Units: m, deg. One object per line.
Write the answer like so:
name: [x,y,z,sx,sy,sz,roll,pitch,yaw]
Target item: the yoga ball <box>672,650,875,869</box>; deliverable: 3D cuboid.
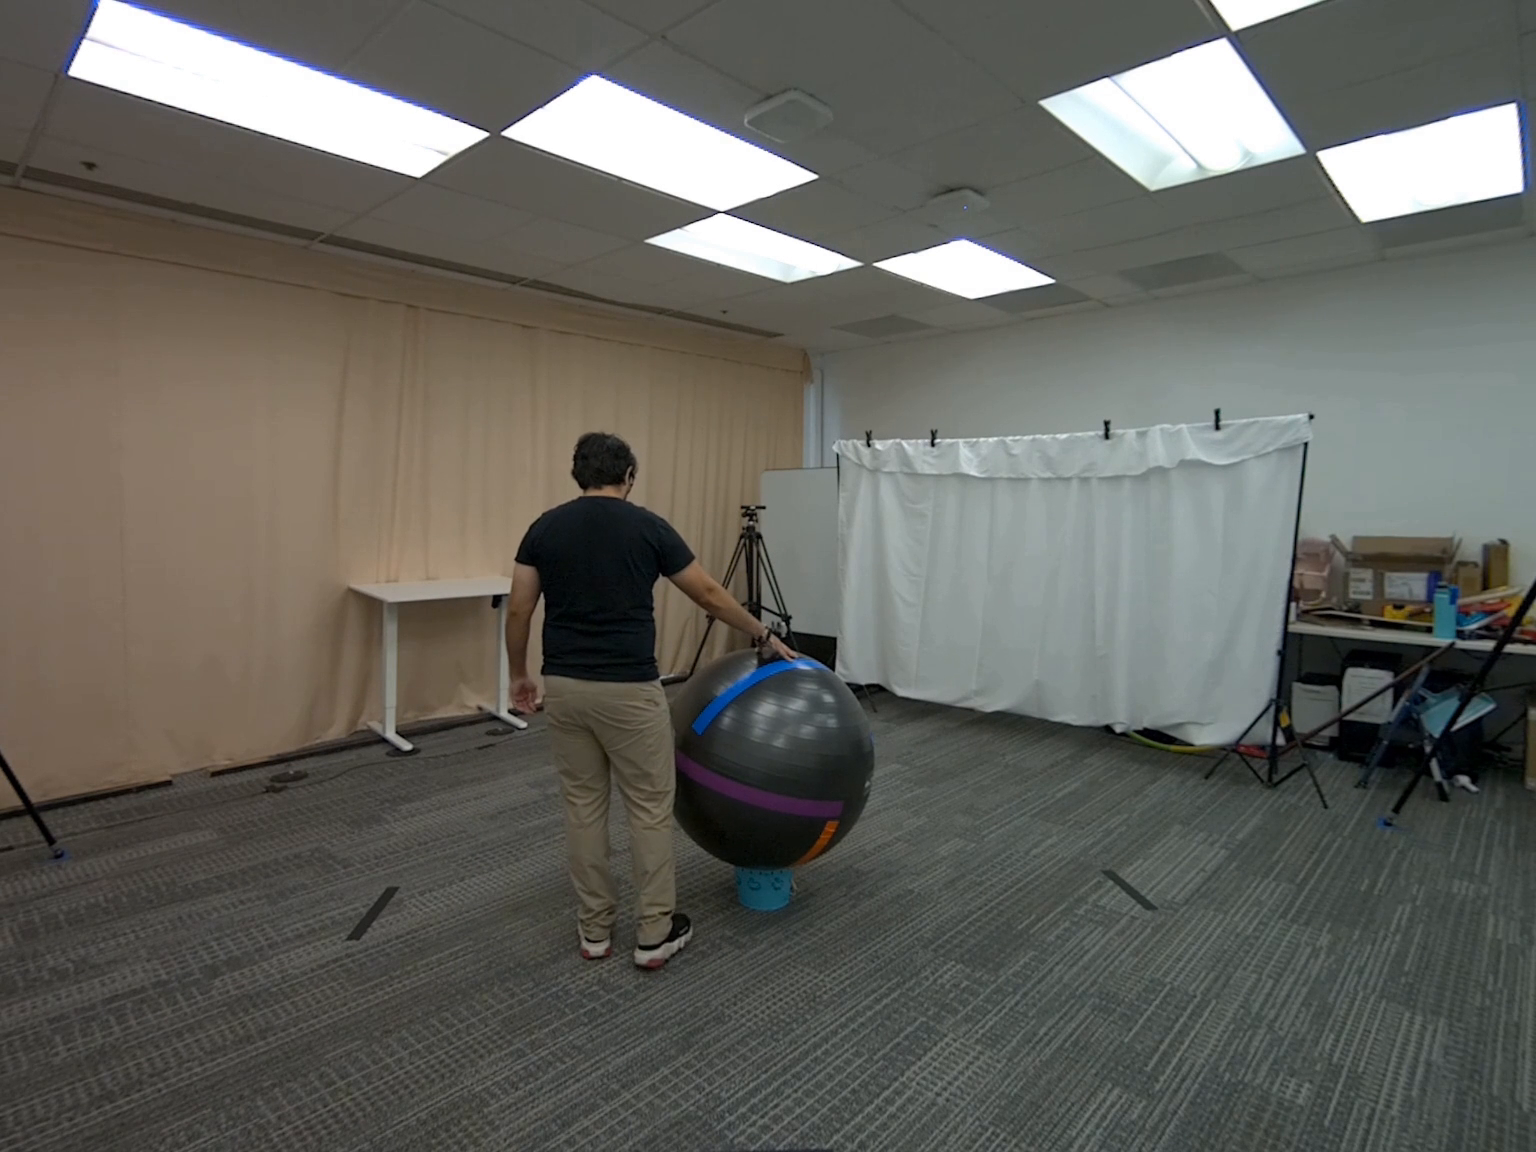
yoga ball: [0.000,0.640,2.974,0.757,0.756,0.760,0,4,-2]
